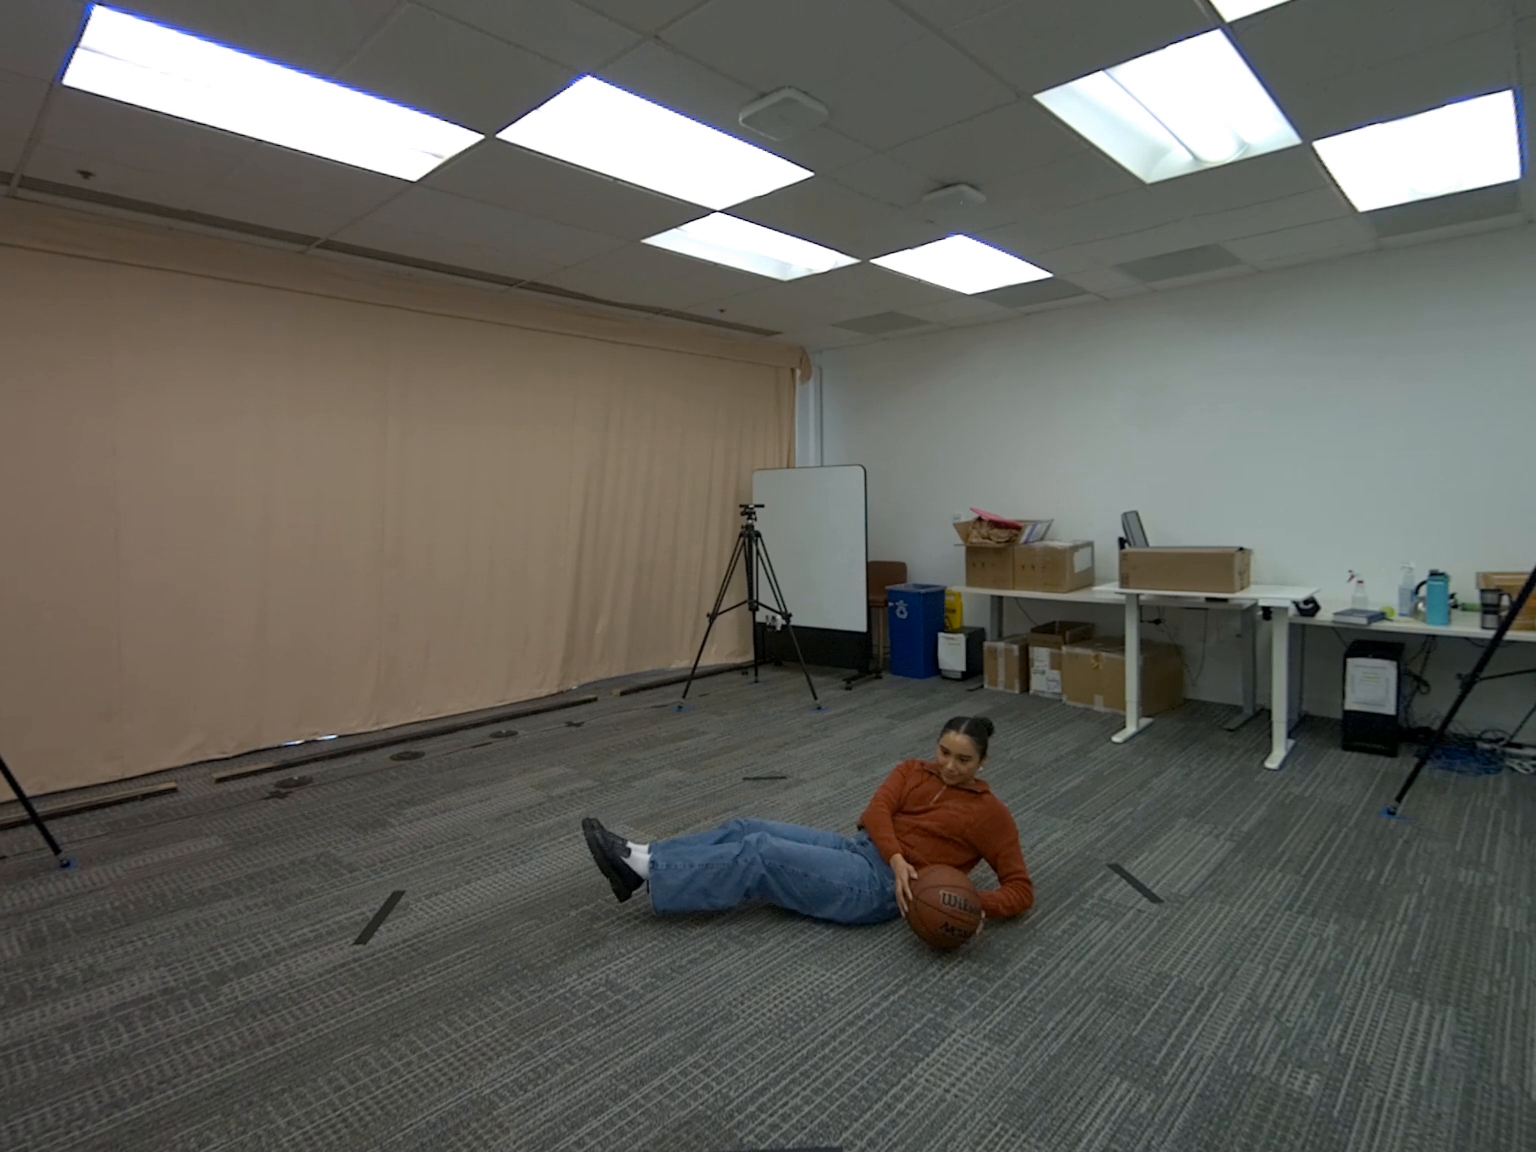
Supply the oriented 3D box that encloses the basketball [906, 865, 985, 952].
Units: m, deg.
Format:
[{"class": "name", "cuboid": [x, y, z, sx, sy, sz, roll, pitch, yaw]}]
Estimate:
[{"class": "basketball", "cuboid": [0.528, 0.990, 2.603, 0.236, 0.235, 0.237, -1, 4, -2]}]
